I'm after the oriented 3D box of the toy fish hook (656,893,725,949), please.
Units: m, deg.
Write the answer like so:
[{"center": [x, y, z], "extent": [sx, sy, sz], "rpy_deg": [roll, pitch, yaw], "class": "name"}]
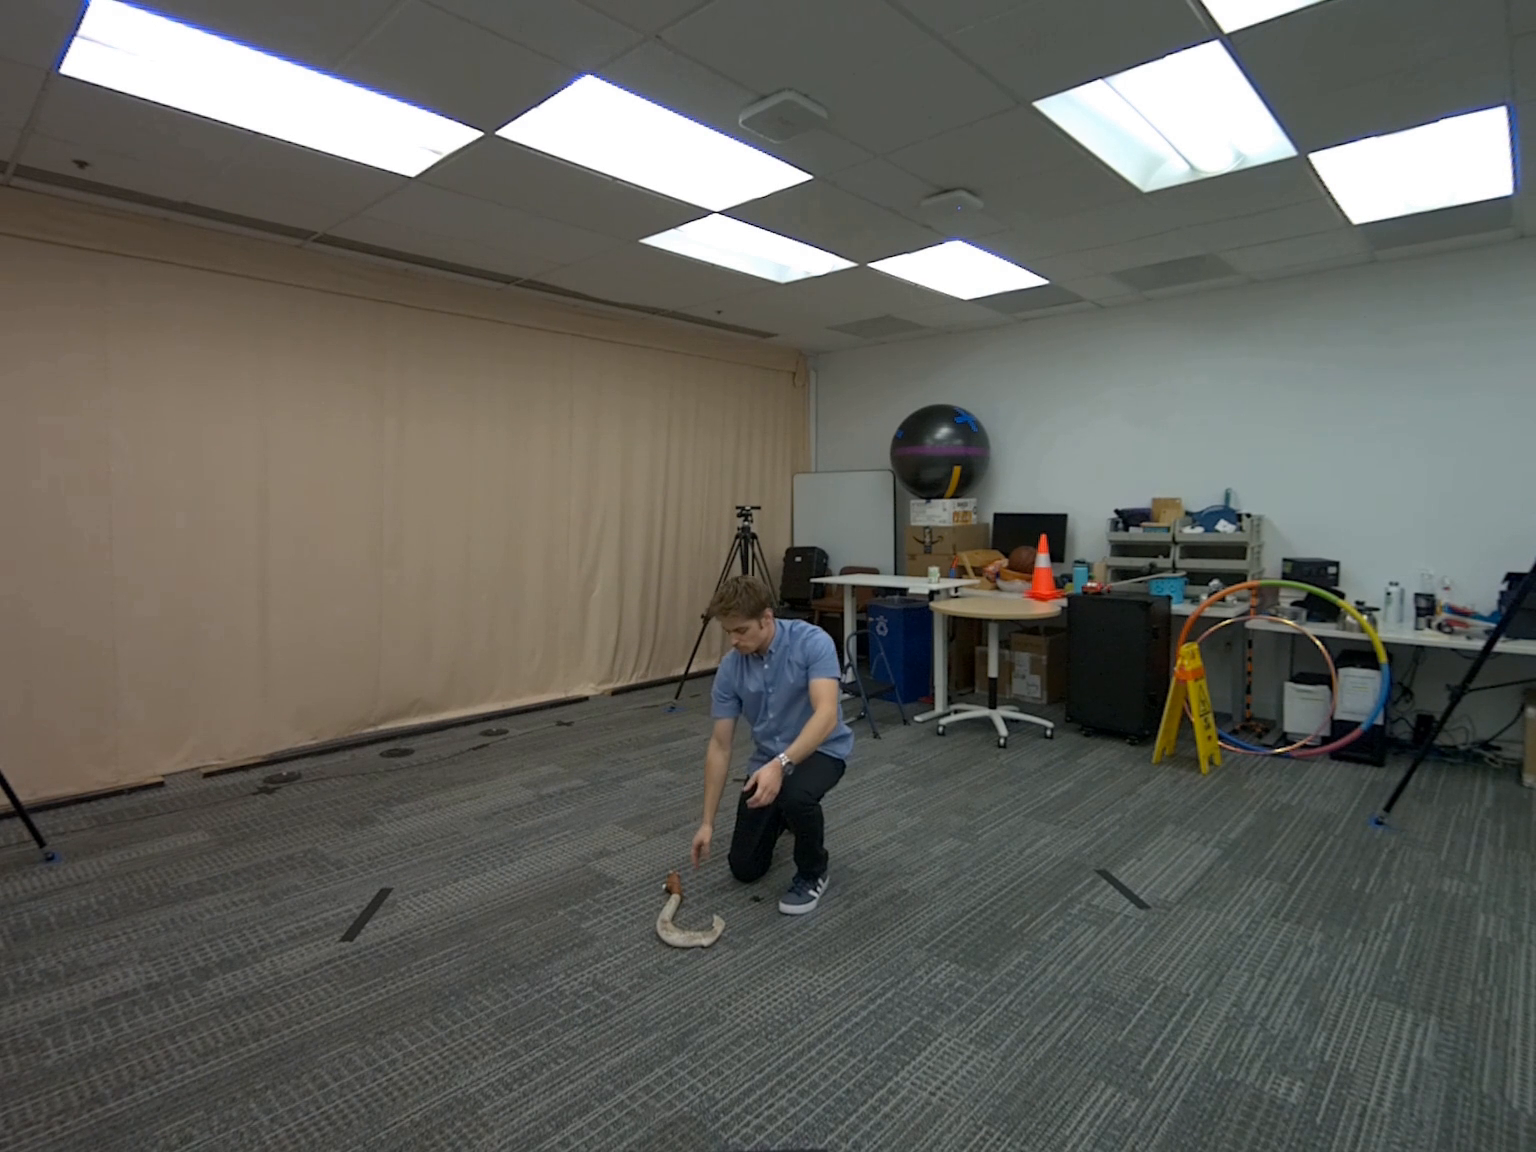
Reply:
[{"center": [-0.264, 1.134, 2.895], "extent": [0.223, 0.048, 0.511], "rpy_deg": [7, 5, -7], "class": "toy fish hook"}]
